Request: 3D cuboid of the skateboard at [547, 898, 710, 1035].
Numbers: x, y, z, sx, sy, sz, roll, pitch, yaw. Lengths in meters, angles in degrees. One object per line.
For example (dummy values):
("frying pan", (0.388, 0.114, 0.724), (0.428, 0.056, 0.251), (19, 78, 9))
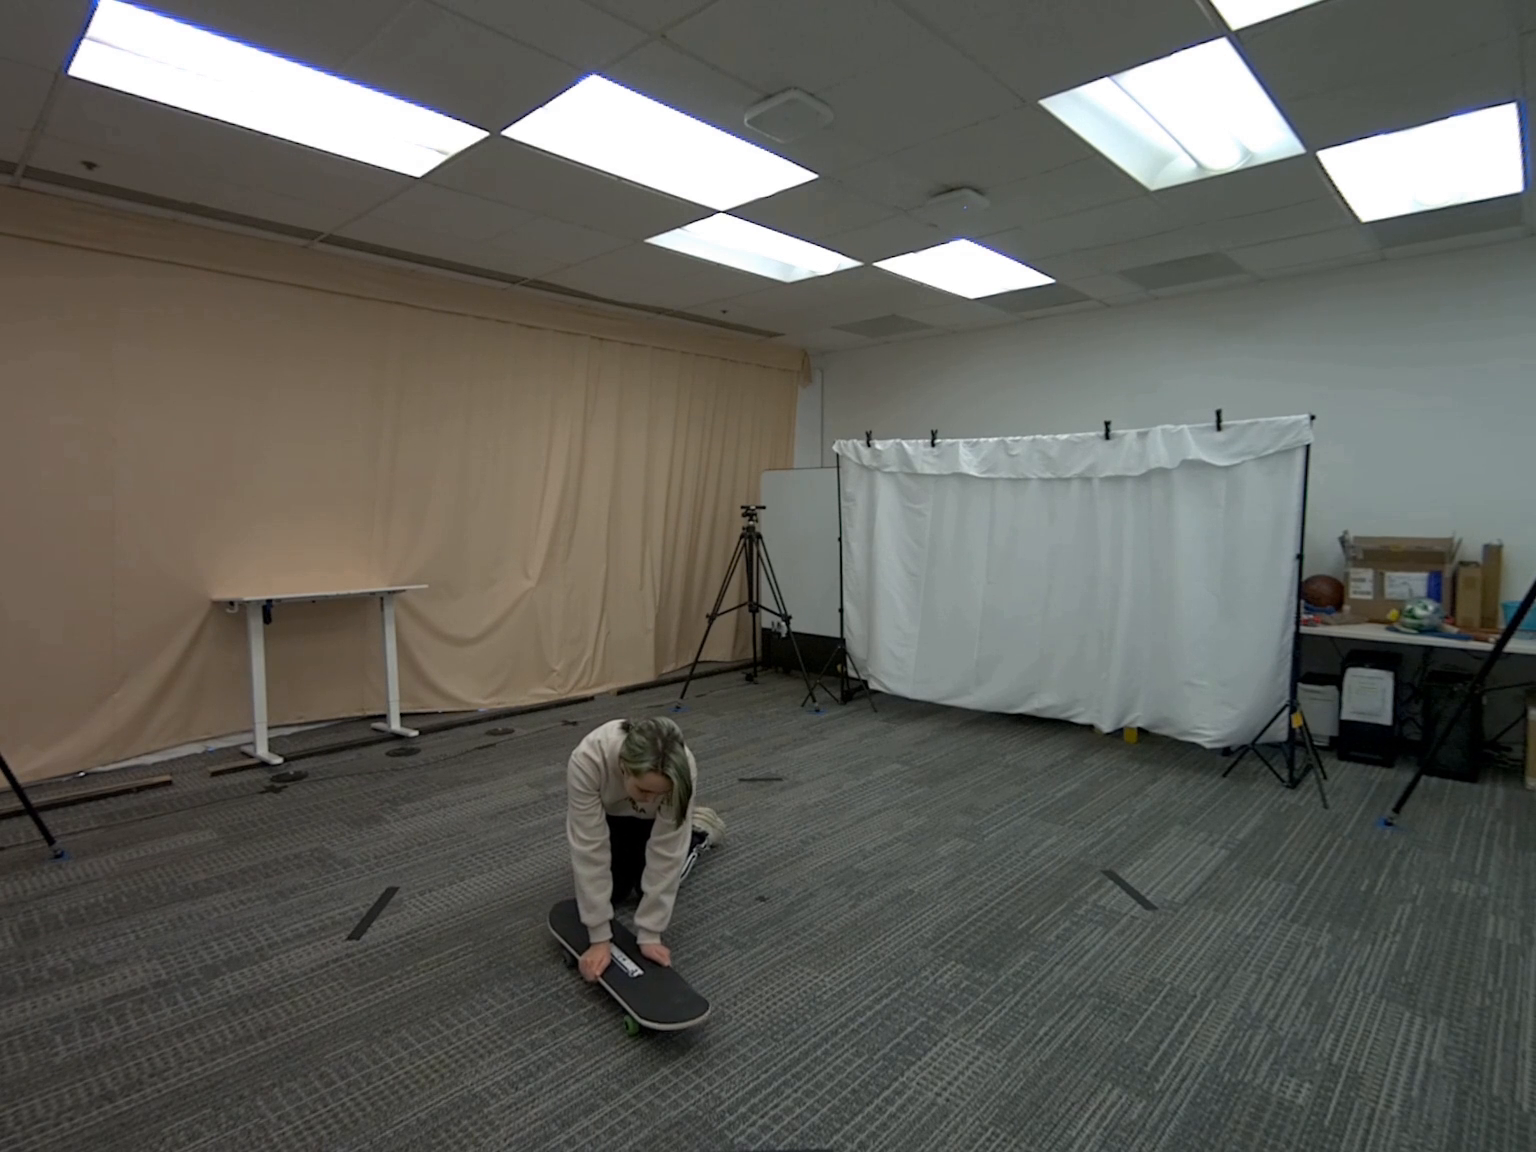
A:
("skateboard", (-0.418, 1.128, 2.431), (0.188, 0.110, 0.810), (-3, 5, -36))
